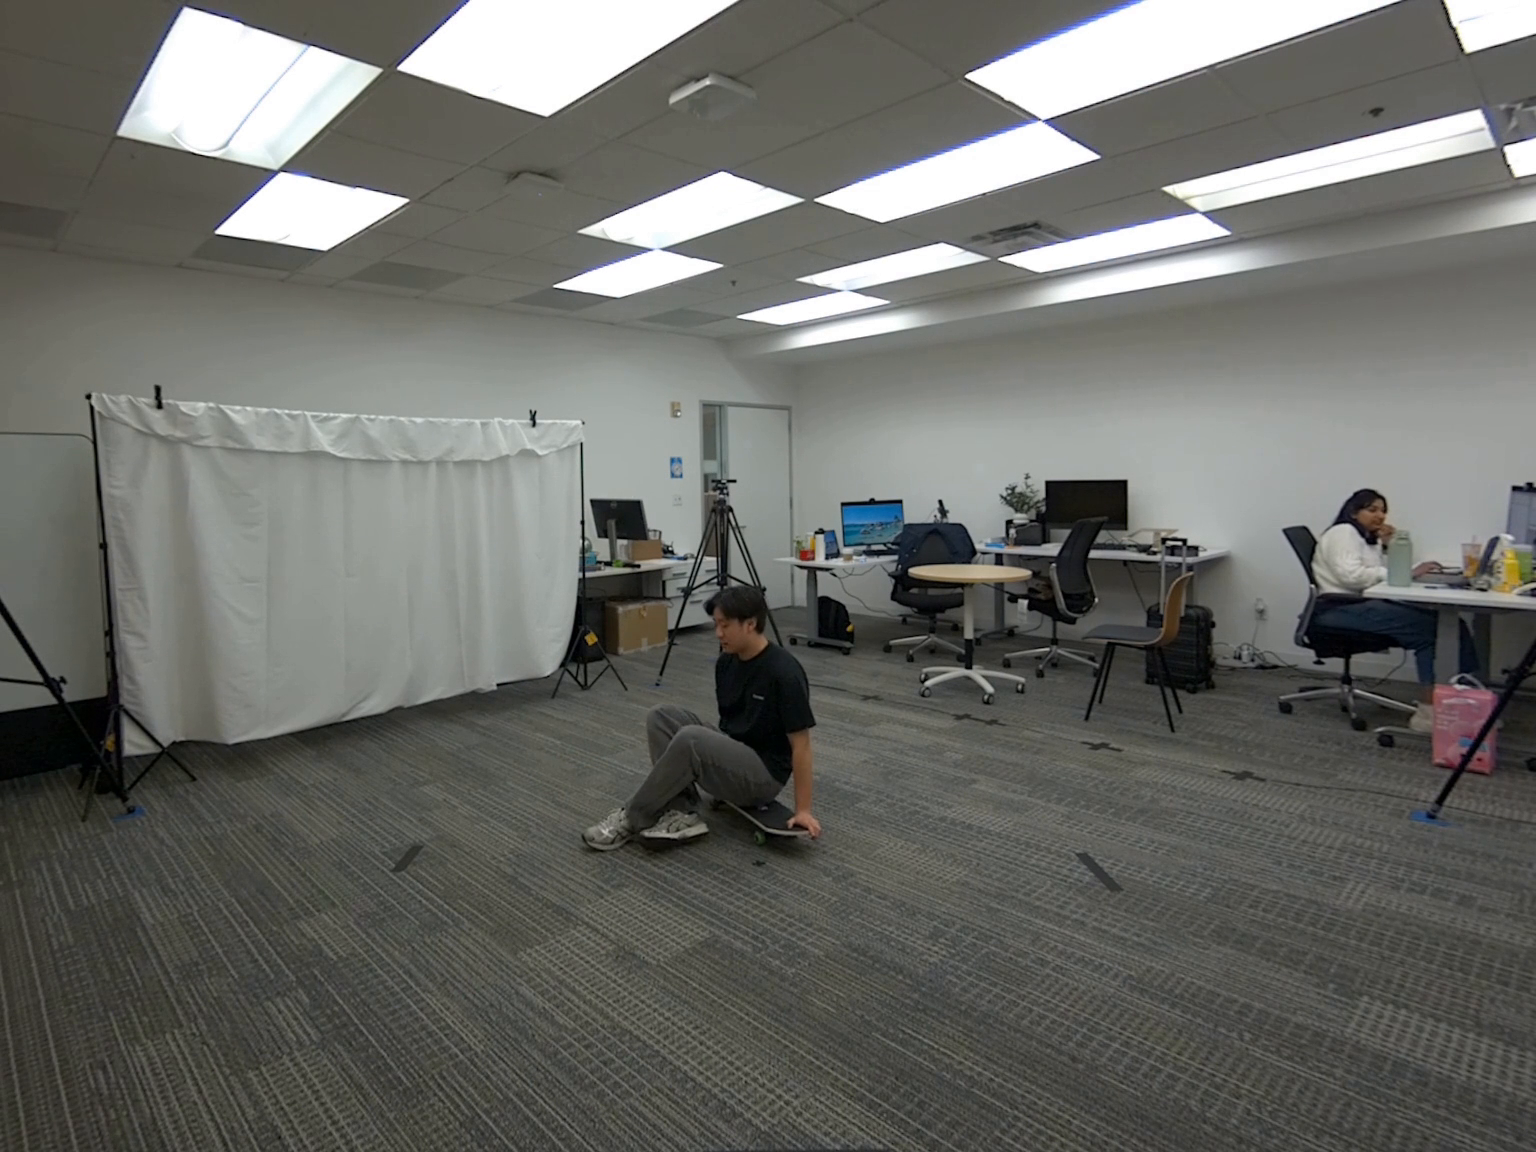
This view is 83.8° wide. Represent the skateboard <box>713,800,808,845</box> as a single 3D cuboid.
[{"bbox_3d":[-0.066,0.954,3.486,0.189,0.110,0.806,-2,5,-28],"label":"skateboard"}]
